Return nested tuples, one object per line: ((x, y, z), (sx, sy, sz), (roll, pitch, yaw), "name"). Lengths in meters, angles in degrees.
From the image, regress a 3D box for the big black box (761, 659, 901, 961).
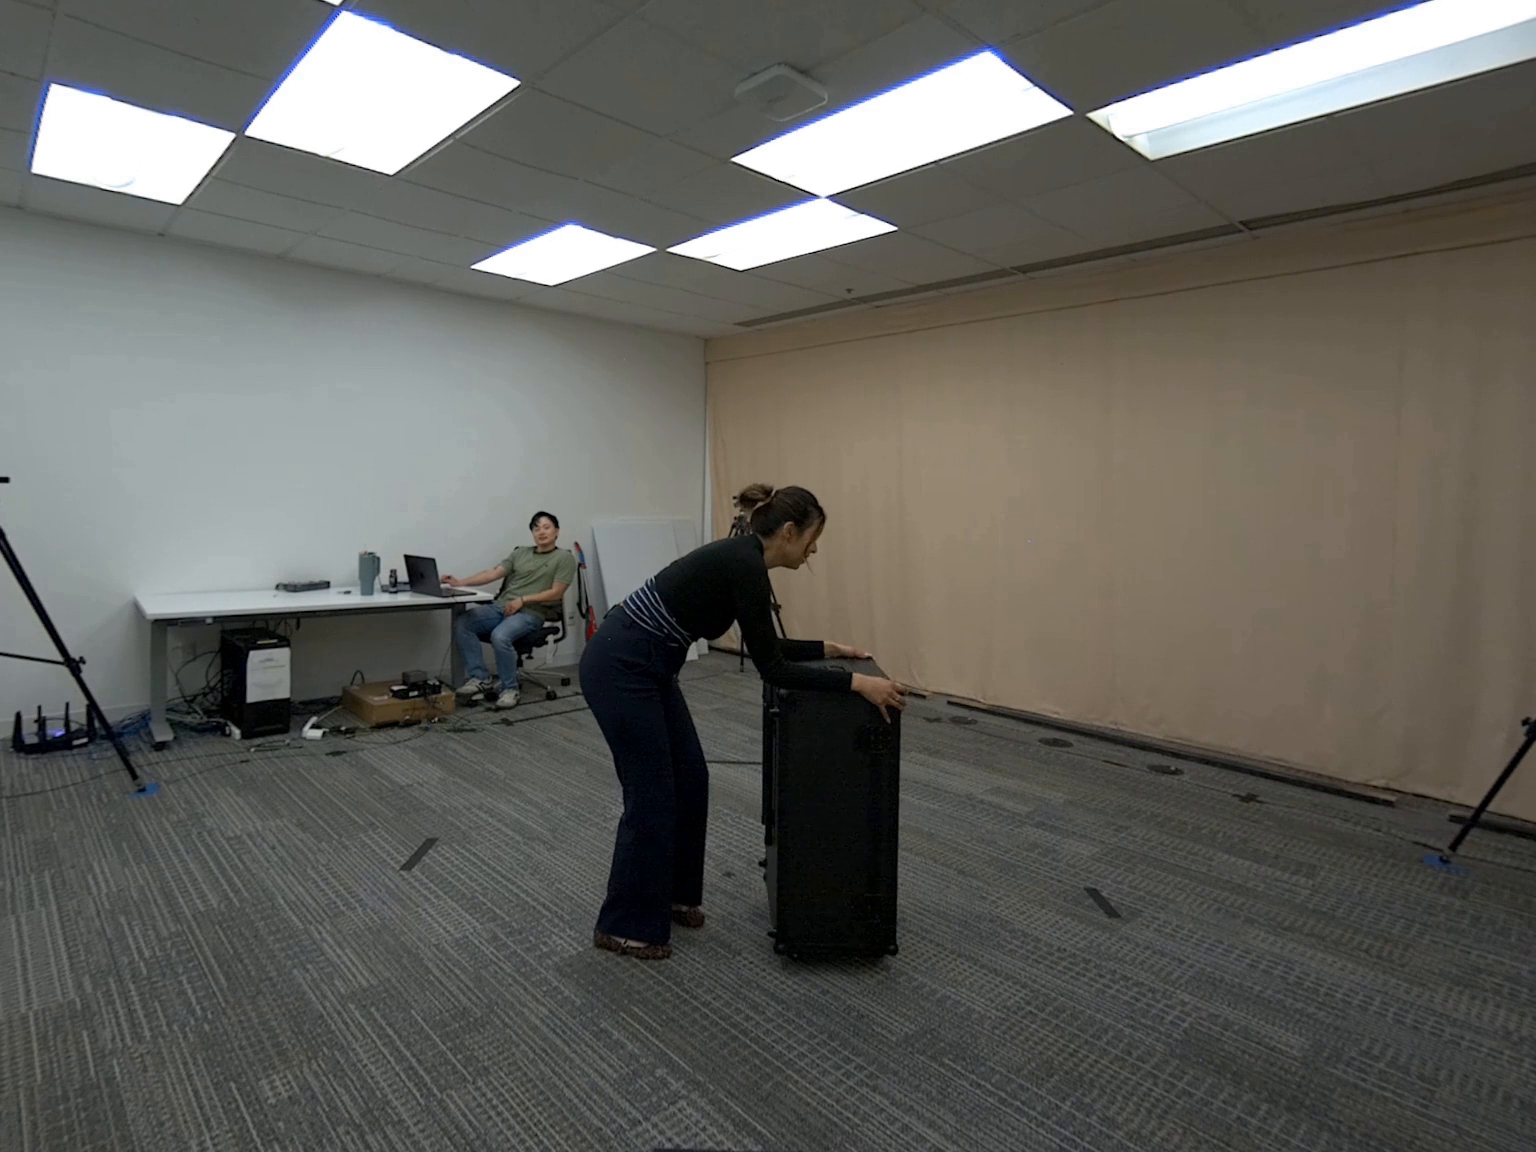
((0.175, 0.729, 2.652), (0.395, 0.858, 0.524), (-1, 5, -3), "big black box")
